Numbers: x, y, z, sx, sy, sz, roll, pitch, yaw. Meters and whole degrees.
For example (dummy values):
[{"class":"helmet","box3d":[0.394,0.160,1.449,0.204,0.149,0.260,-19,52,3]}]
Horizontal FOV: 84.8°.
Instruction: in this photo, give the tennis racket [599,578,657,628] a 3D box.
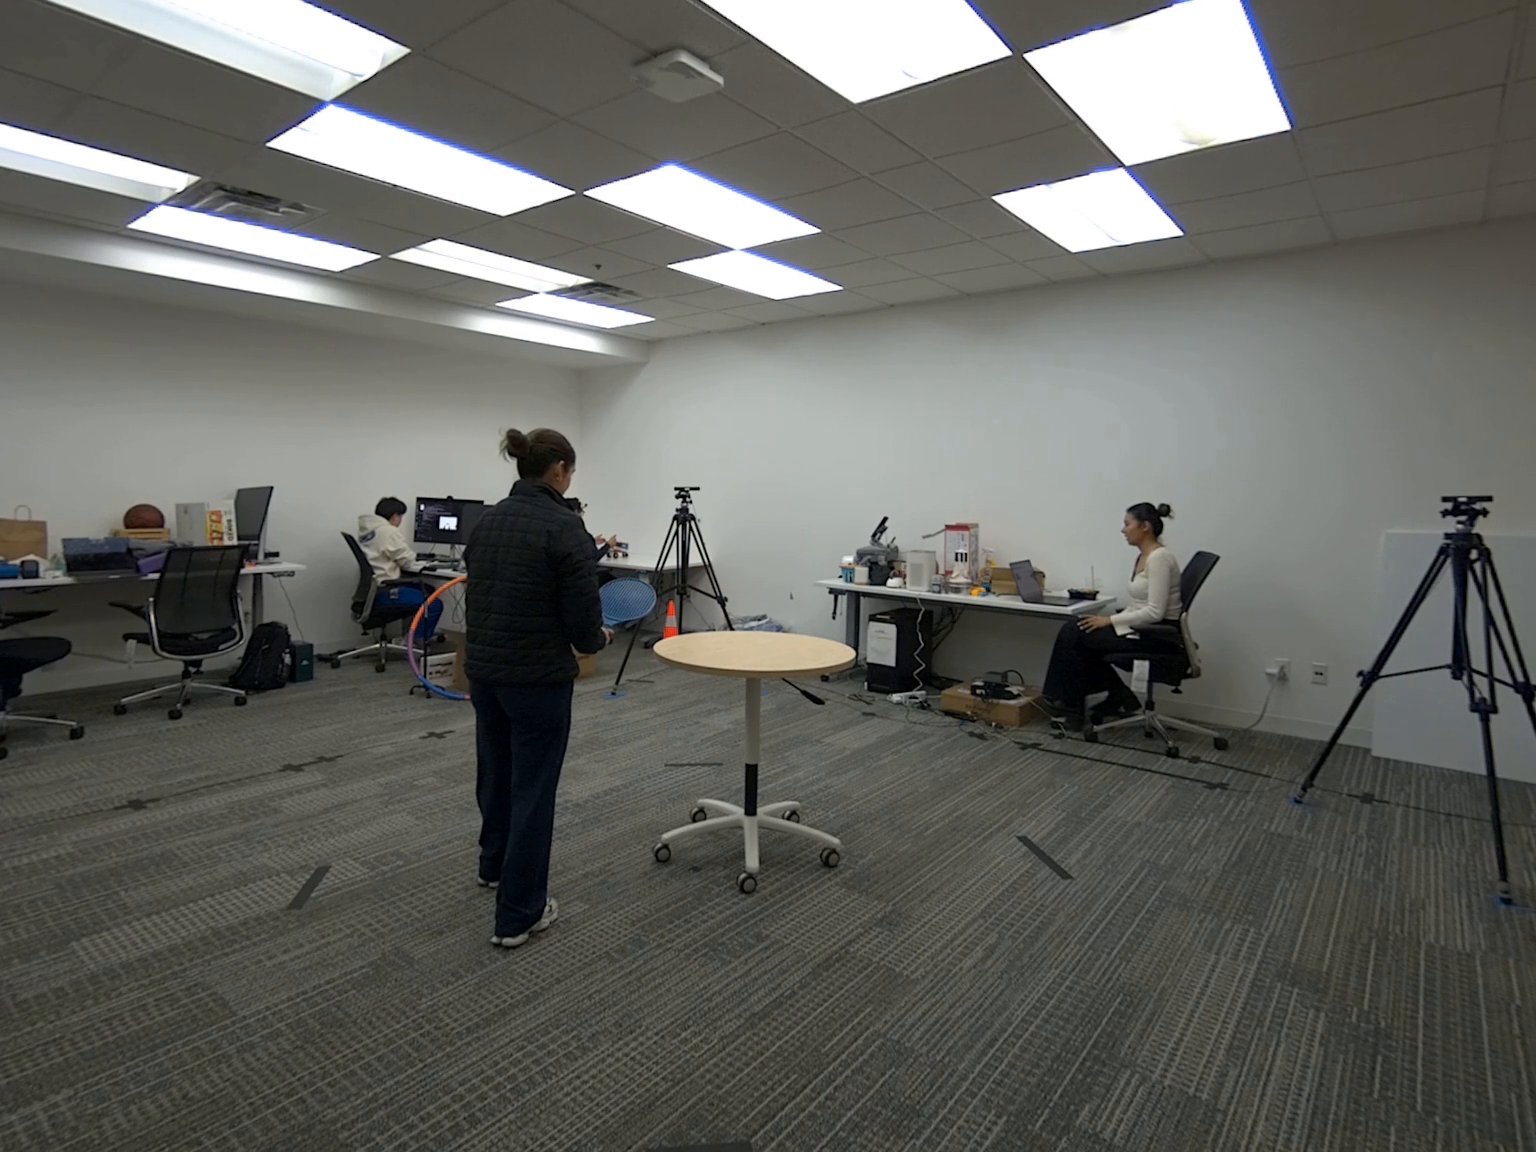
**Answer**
[{"class":"tennis racket","box3d":[-0.524,0.121,3.052,0.217,0.031,0.435,15,33,12]}]
